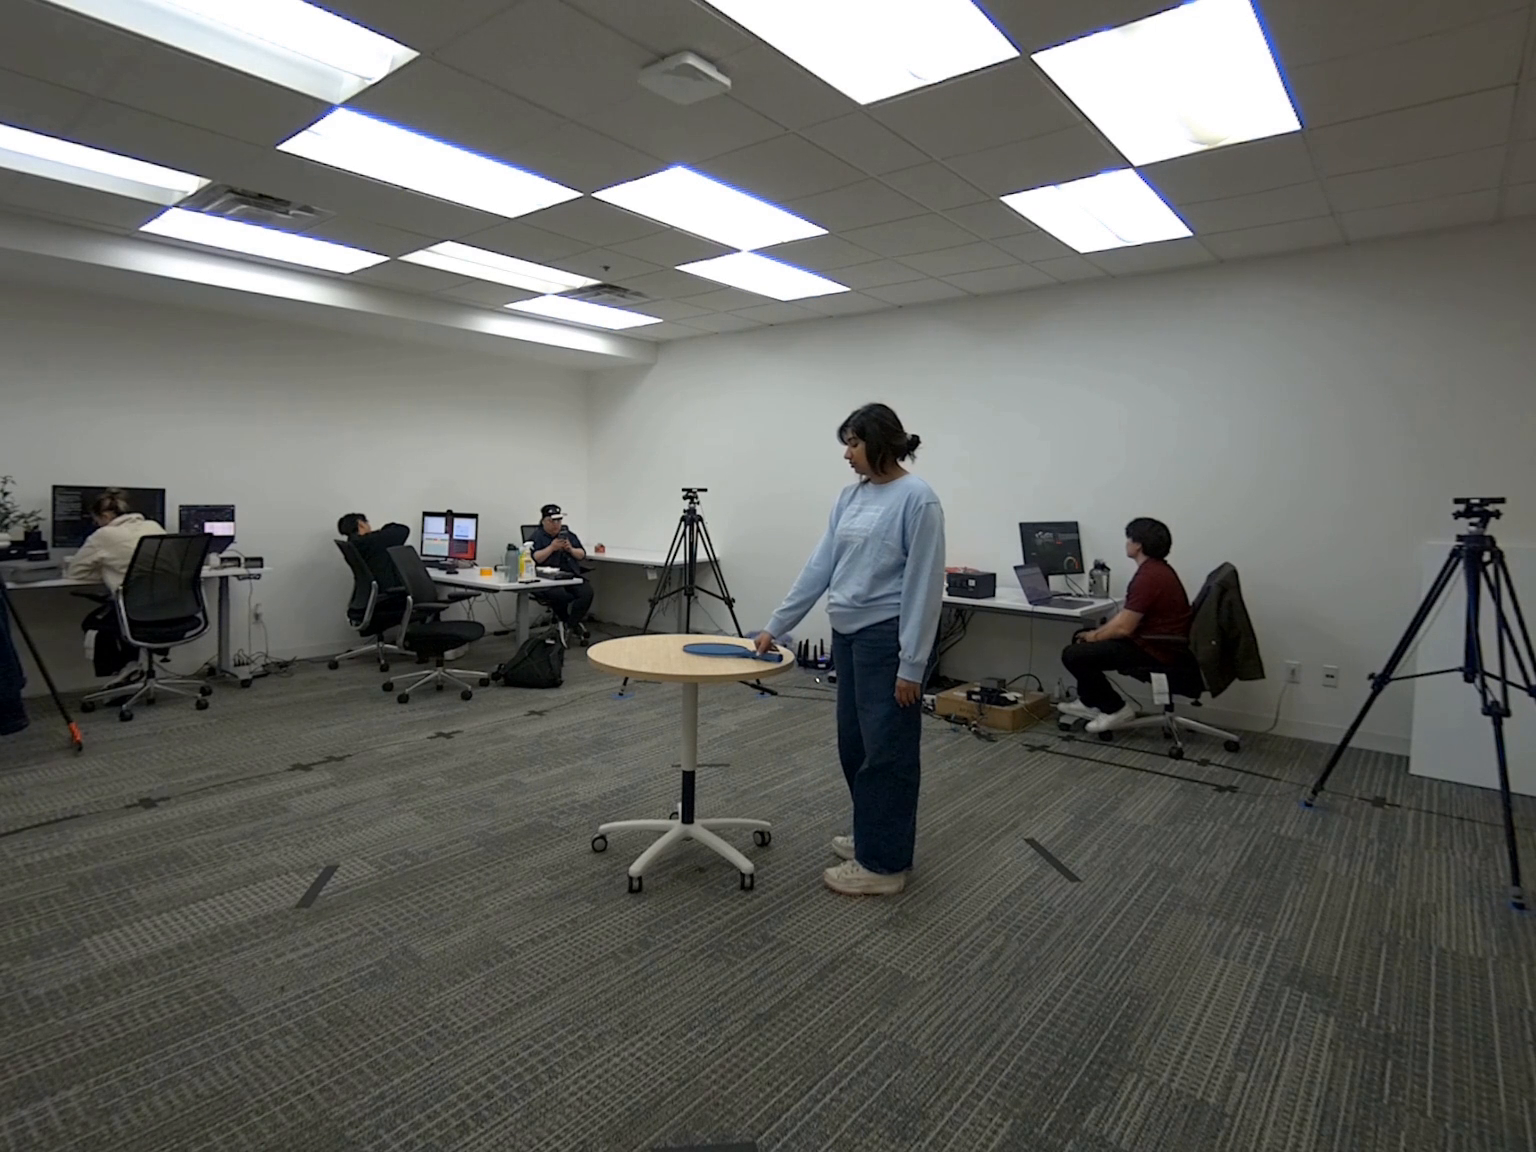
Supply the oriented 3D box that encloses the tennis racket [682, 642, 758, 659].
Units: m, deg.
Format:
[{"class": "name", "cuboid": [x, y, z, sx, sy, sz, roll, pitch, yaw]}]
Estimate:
[{"class": "tennis racket", "cuboid": [-0.140, 0.277, 3.141, 0.447, 0.031, 0.208, 5, 9, 41]}]
